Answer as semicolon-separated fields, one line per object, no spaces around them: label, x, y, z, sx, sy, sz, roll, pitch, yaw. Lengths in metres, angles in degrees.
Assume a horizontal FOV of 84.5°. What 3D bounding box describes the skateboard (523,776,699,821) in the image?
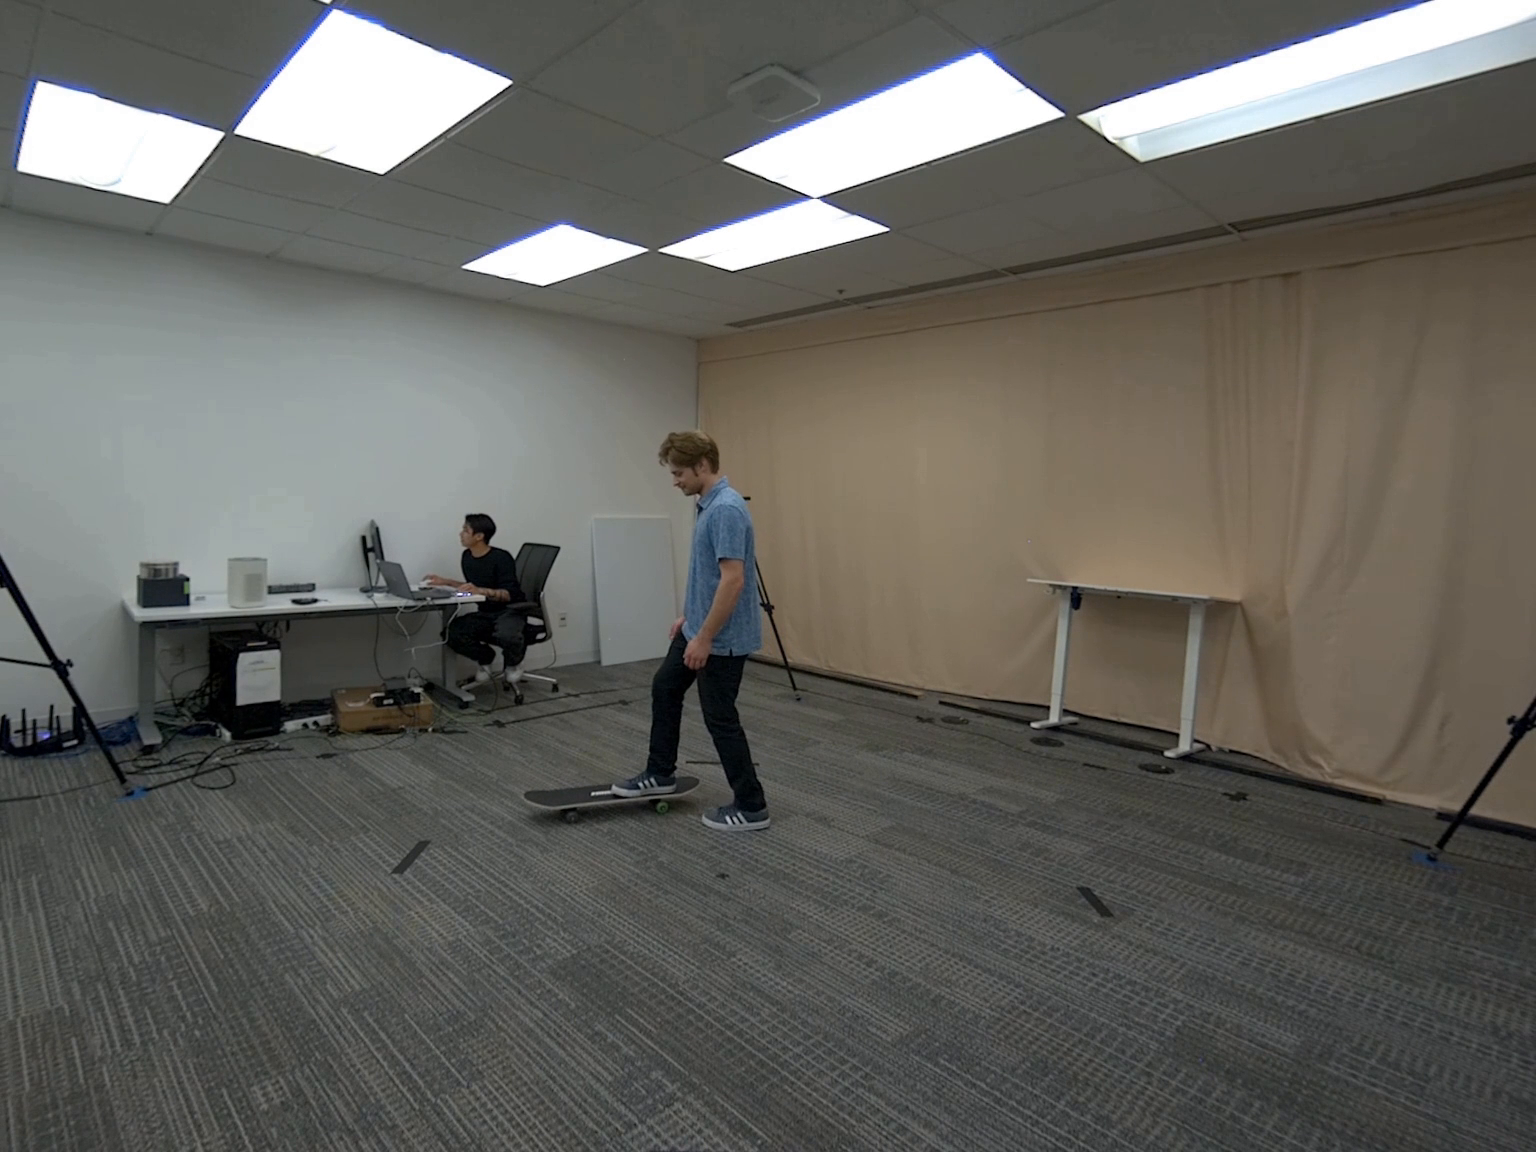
skateboard;-0.686;0.982;3.713;0.773;0.110;0.197;-1;6;-21
